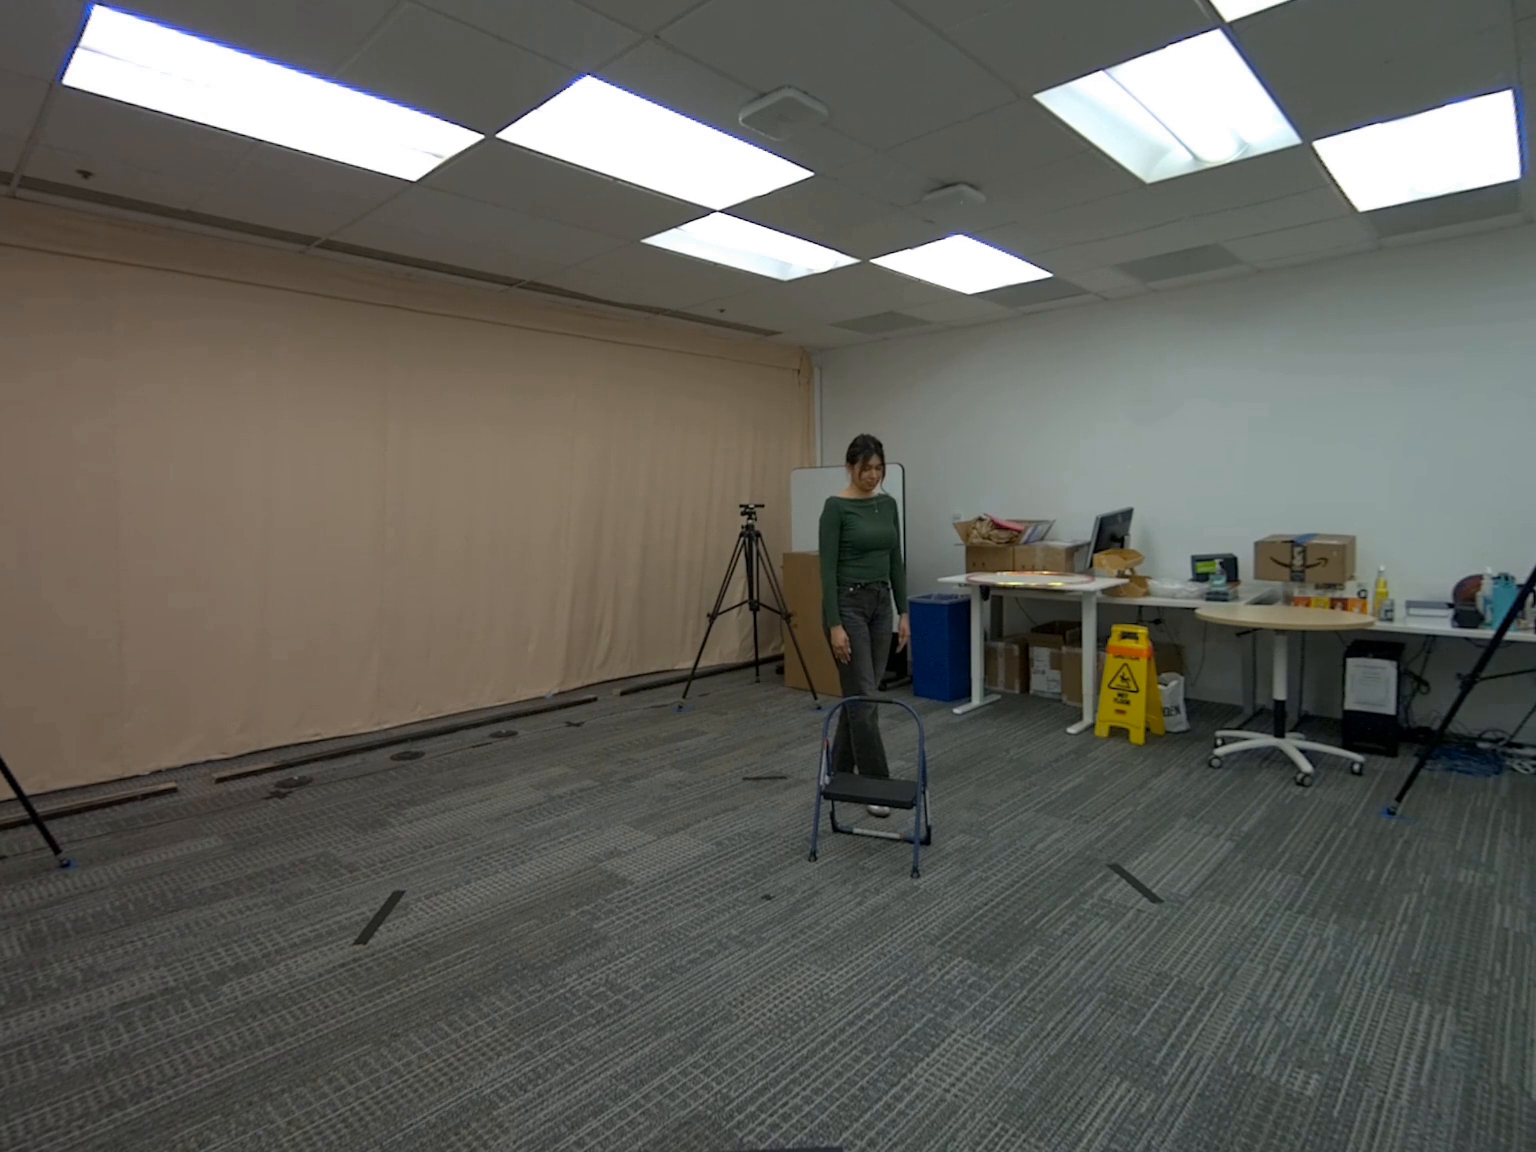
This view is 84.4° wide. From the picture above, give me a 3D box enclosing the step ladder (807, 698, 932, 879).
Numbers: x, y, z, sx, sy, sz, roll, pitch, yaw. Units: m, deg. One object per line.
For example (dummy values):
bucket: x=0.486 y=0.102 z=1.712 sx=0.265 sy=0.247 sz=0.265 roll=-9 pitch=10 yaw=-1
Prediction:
step ladder: x=0.414 y=0.796 z=3.339 sx=0.441 sy=0.605 sz=0.342 roll=1 pitch=3 yaw=22
